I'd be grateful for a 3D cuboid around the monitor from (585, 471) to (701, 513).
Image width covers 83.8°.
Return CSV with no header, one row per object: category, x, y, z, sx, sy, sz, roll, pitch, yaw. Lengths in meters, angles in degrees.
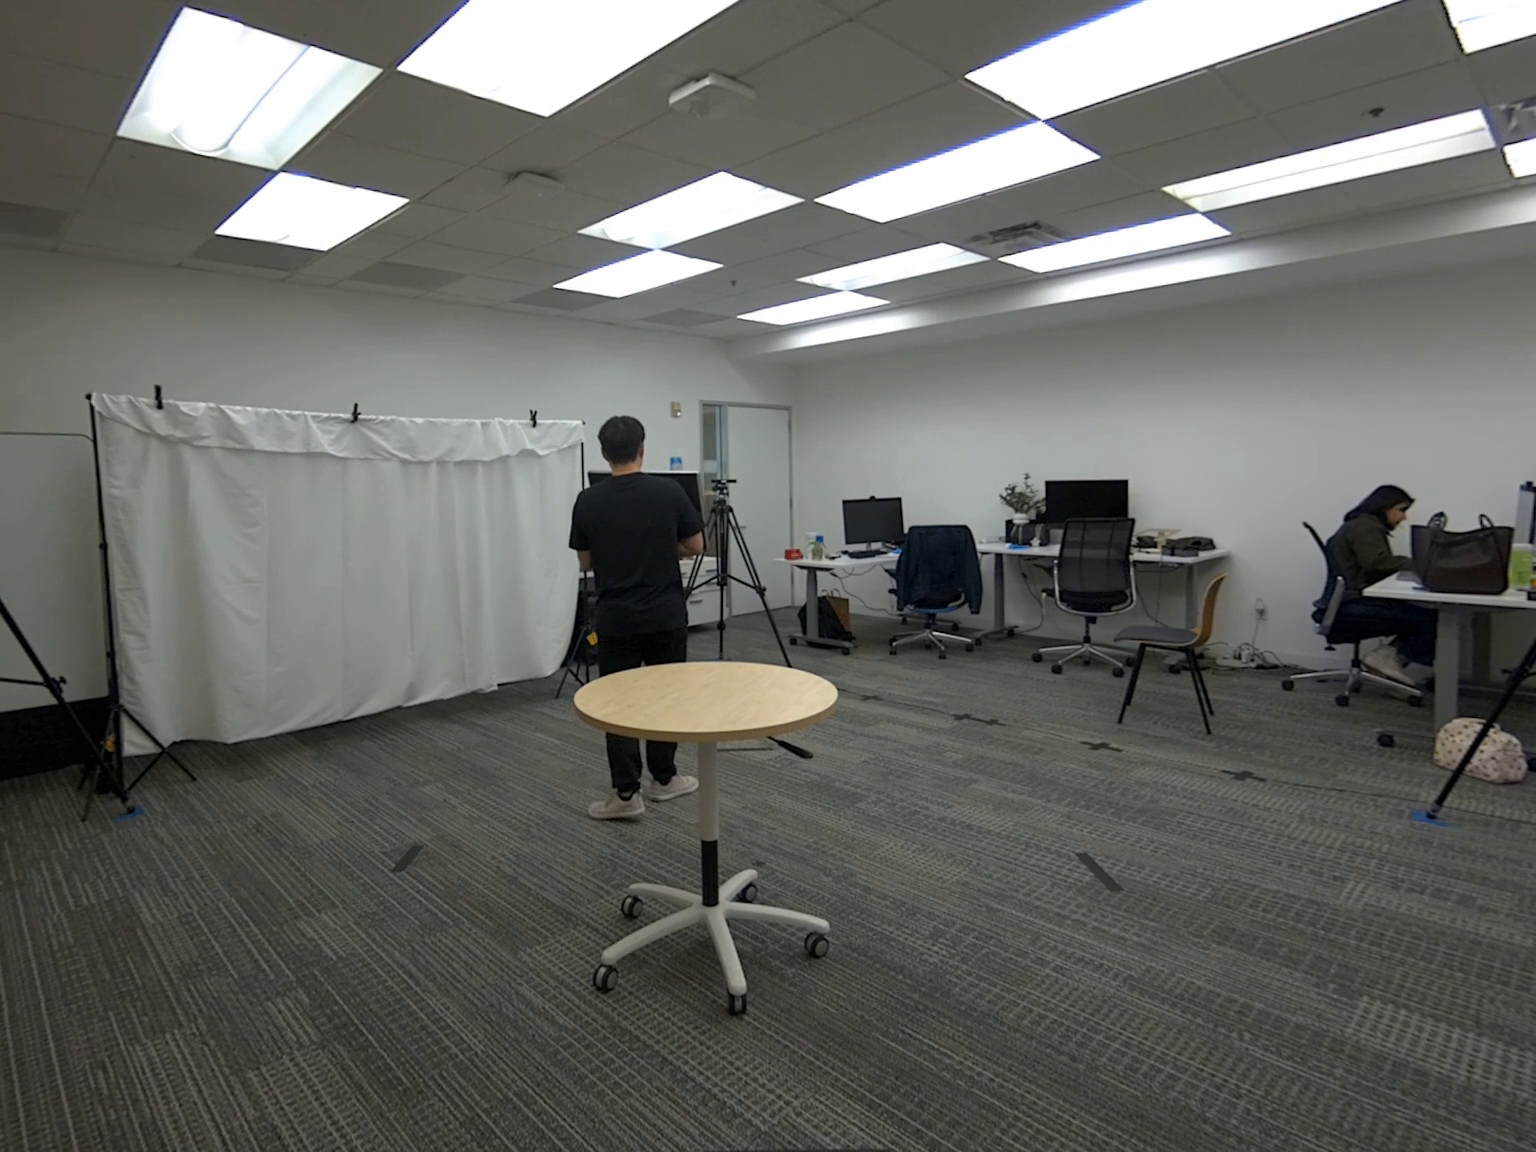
monitor,-0.550,-0.199,3.827,0.551,0.517,0.185,3,13,23
